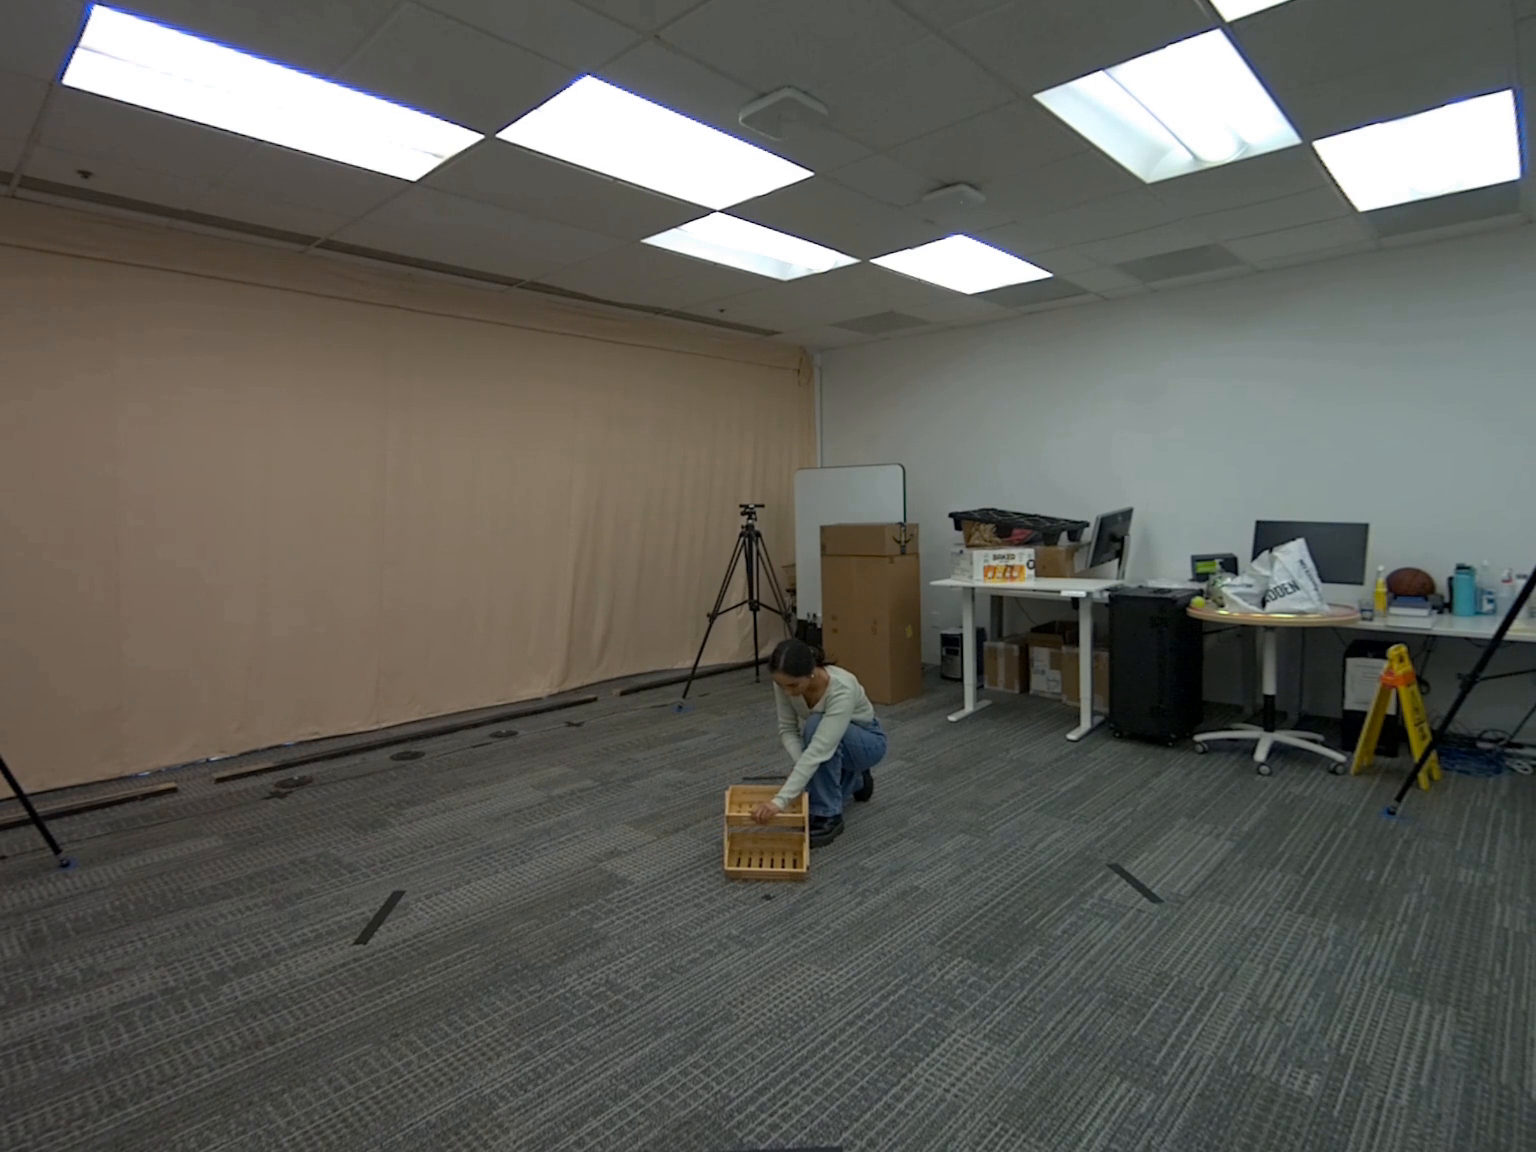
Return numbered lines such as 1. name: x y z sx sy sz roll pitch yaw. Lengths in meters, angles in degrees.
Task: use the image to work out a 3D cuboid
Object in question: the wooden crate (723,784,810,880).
1. wooden crate: -0.007 0.985 3.225 0.326 0.273 0.301 0 3 4
